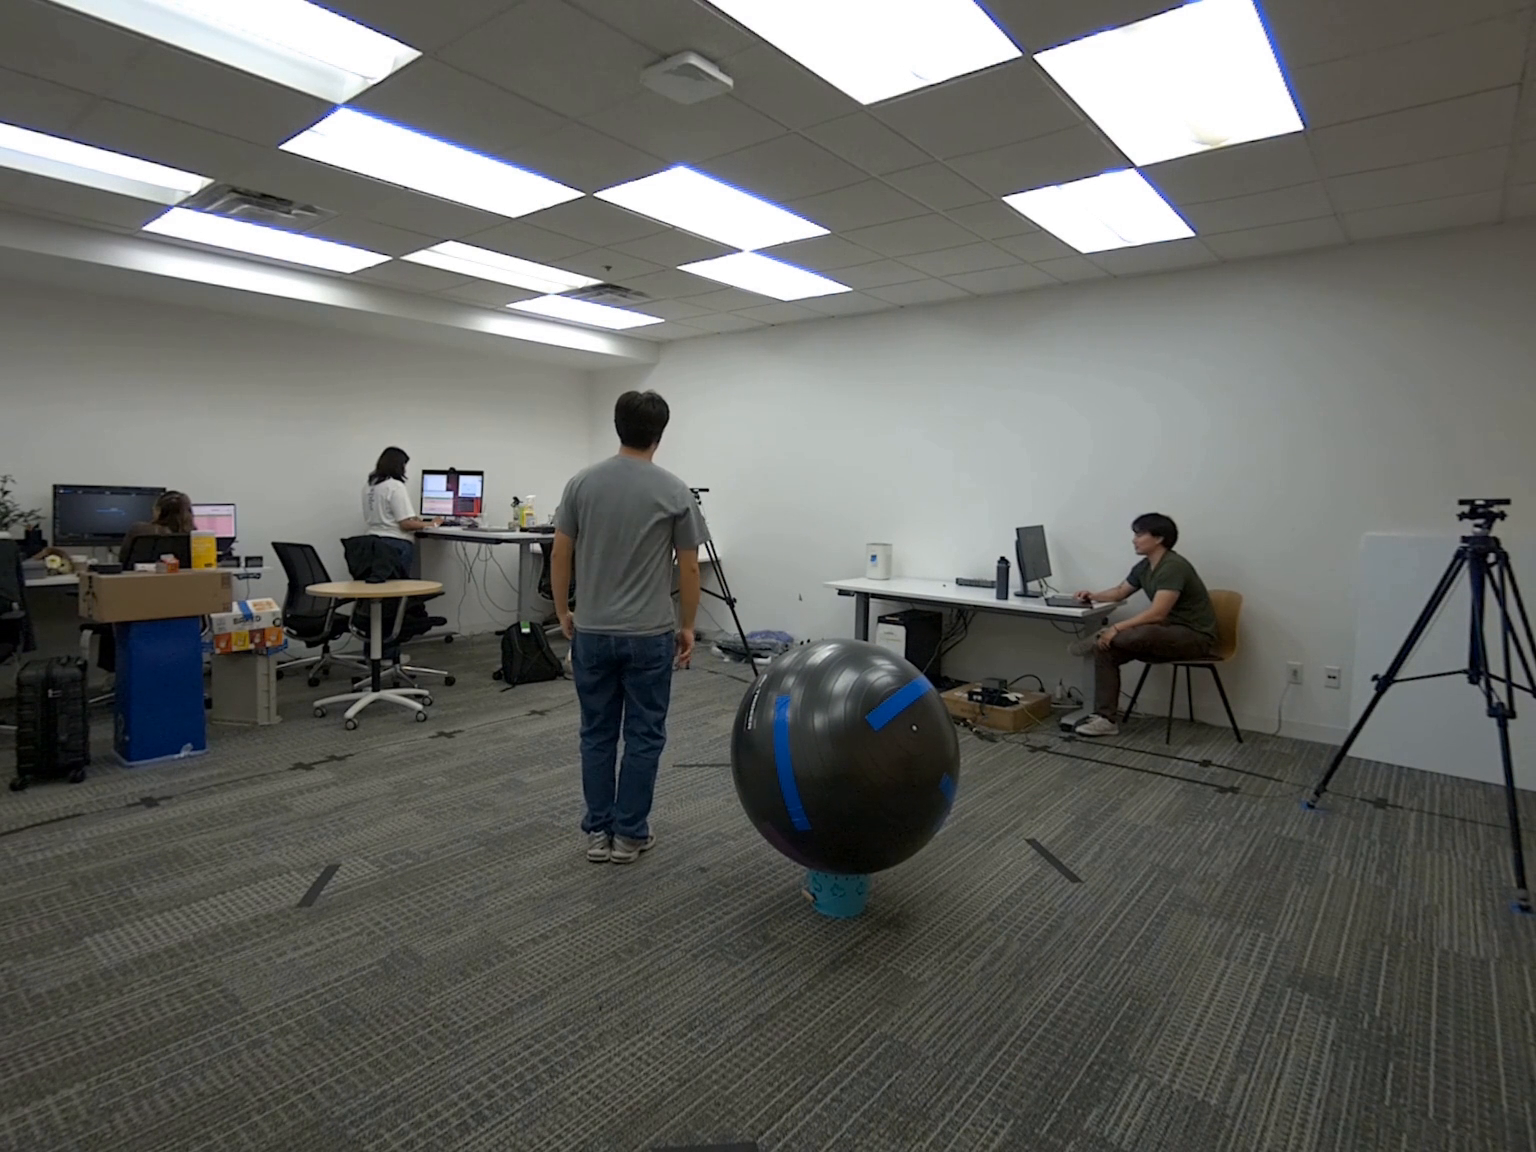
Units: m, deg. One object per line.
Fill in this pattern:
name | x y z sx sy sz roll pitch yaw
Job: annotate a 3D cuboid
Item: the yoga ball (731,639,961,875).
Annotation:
yoga ball | 0.241 0.592 2.854 0.757 0.756 0.762 1 4 -2
